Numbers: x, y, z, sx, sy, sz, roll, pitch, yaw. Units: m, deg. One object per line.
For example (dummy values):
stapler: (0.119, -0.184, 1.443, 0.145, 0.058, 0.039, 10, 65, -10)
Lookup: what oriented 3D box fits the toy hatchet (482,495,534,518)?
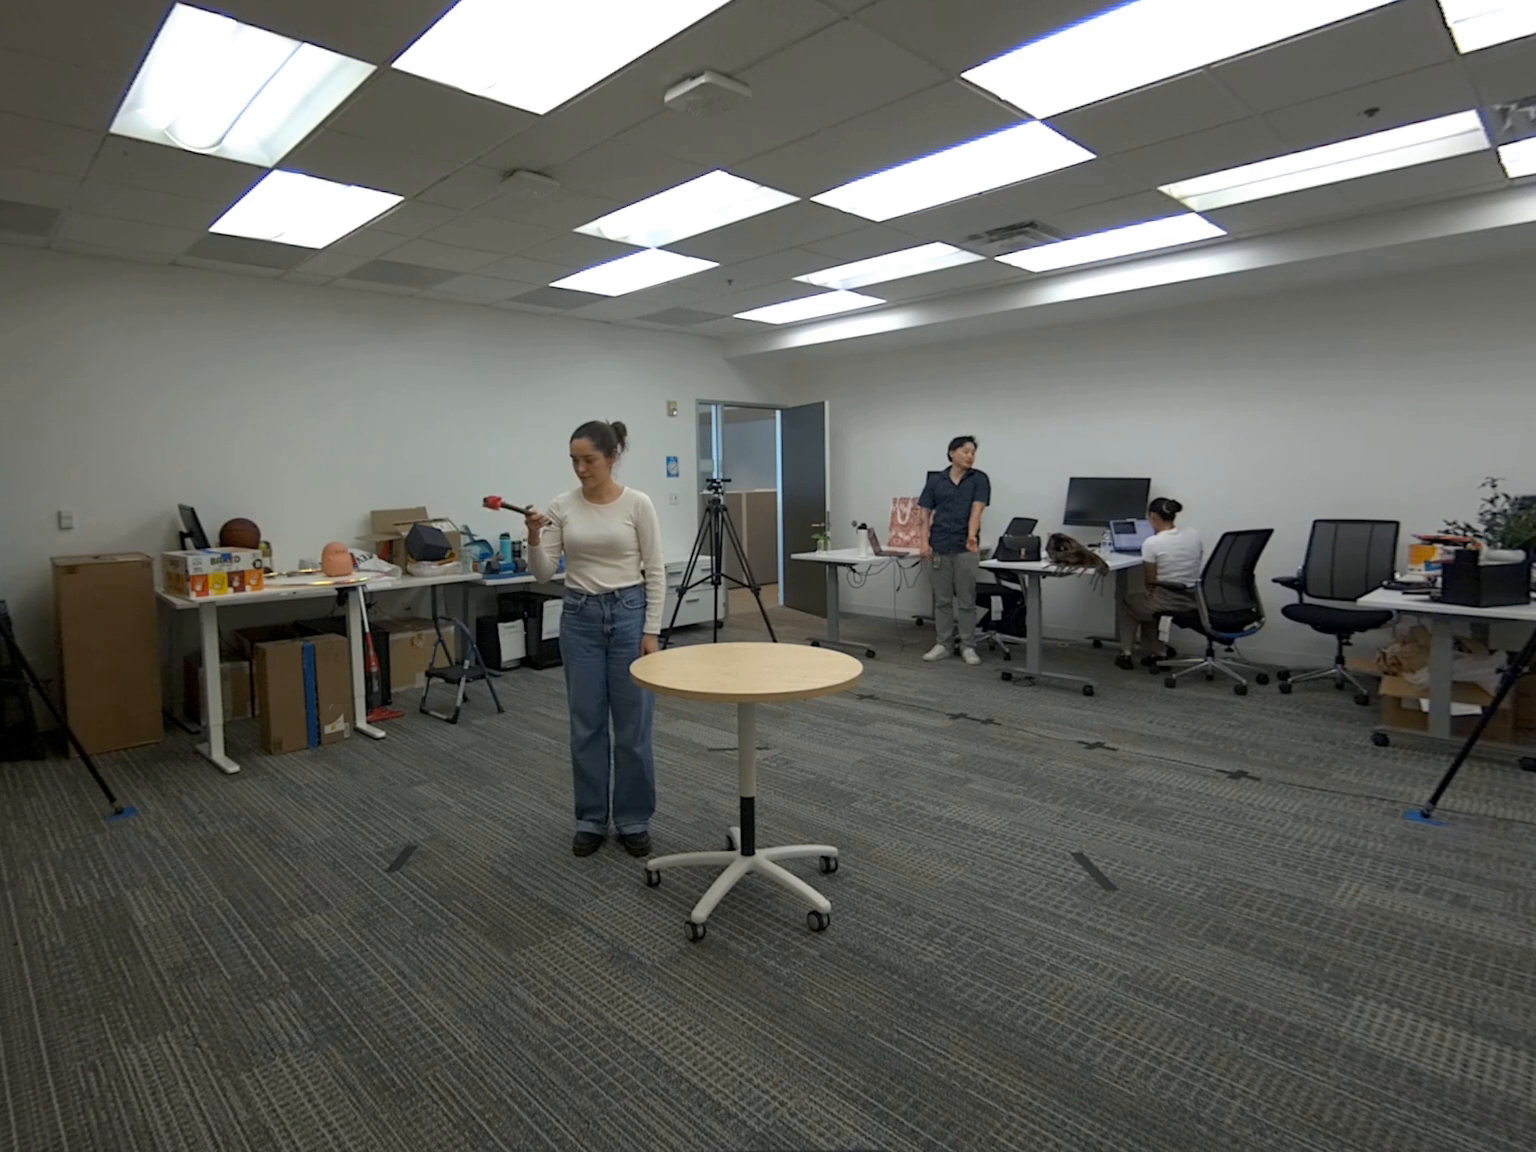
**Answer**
toy hatchet: (-0.882, -0.227, 2.972, 0.134, 0.030, 0.260, -6, -19, 29)
